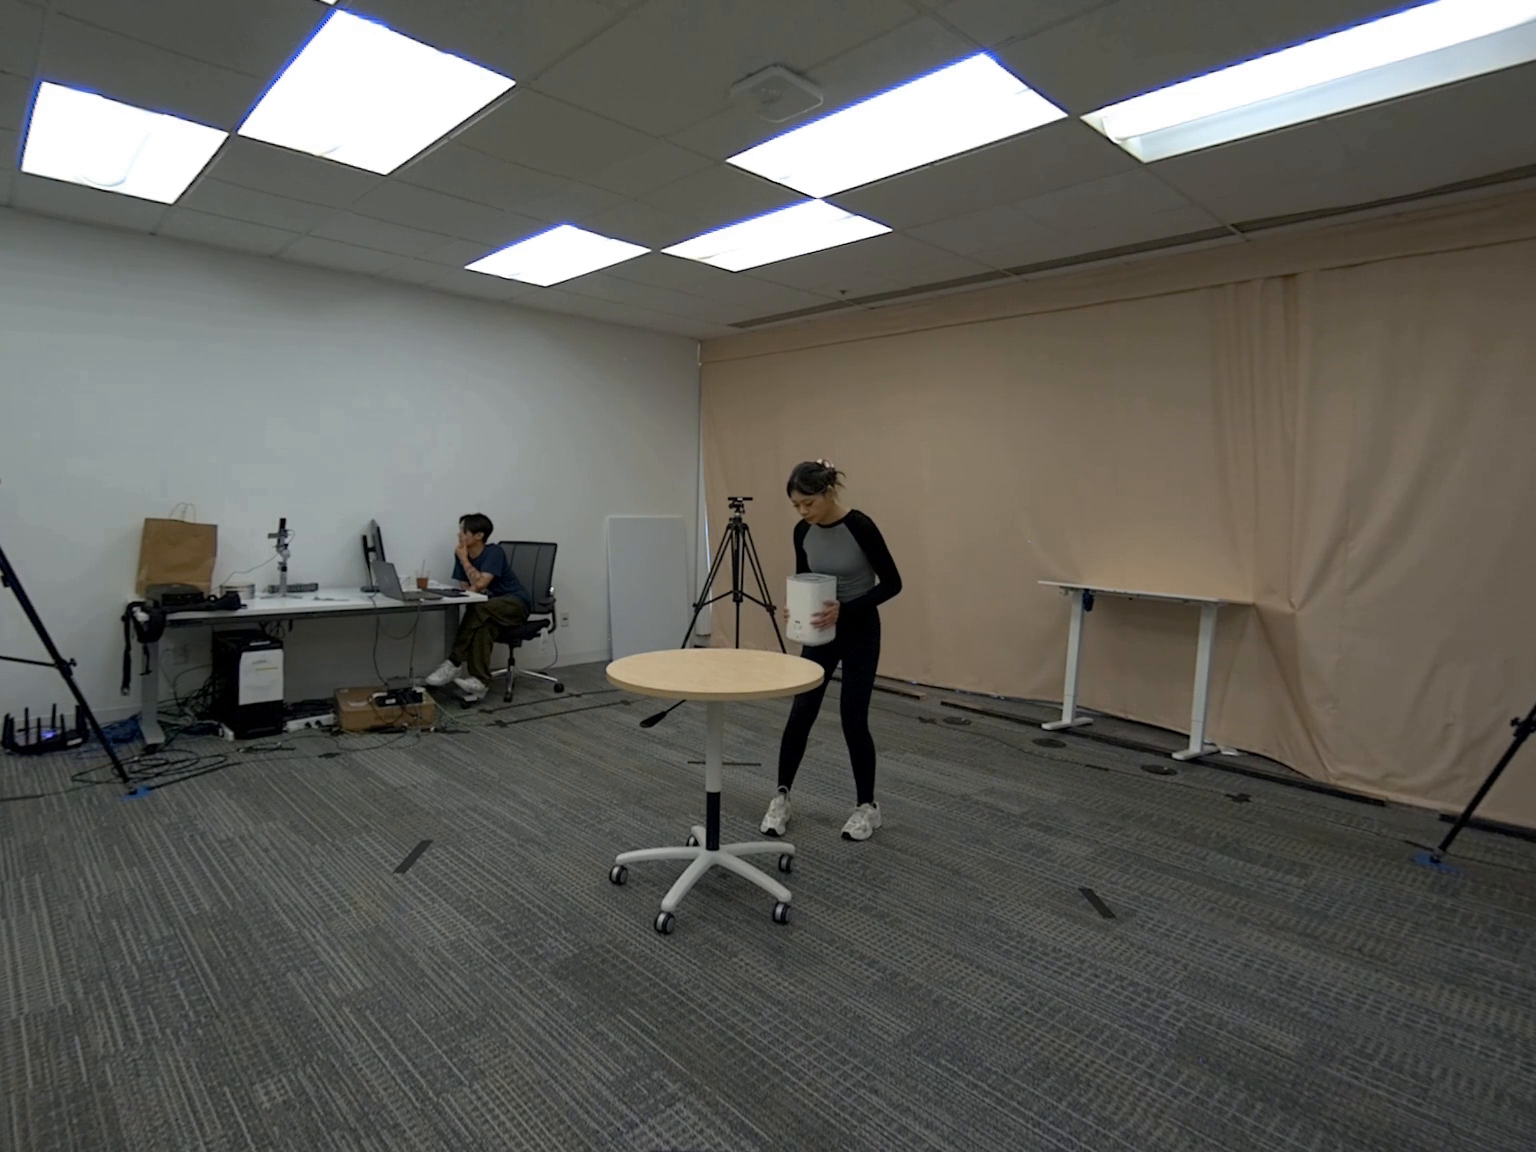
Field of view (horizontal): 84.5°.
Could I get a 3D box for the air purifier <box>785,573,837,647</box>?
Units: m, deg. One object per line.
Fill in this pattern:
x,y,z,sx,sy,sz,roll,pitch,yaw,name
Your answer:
0.167,0.134,3.396,0.175,0.263,0.168,8,12,39,air purifier
